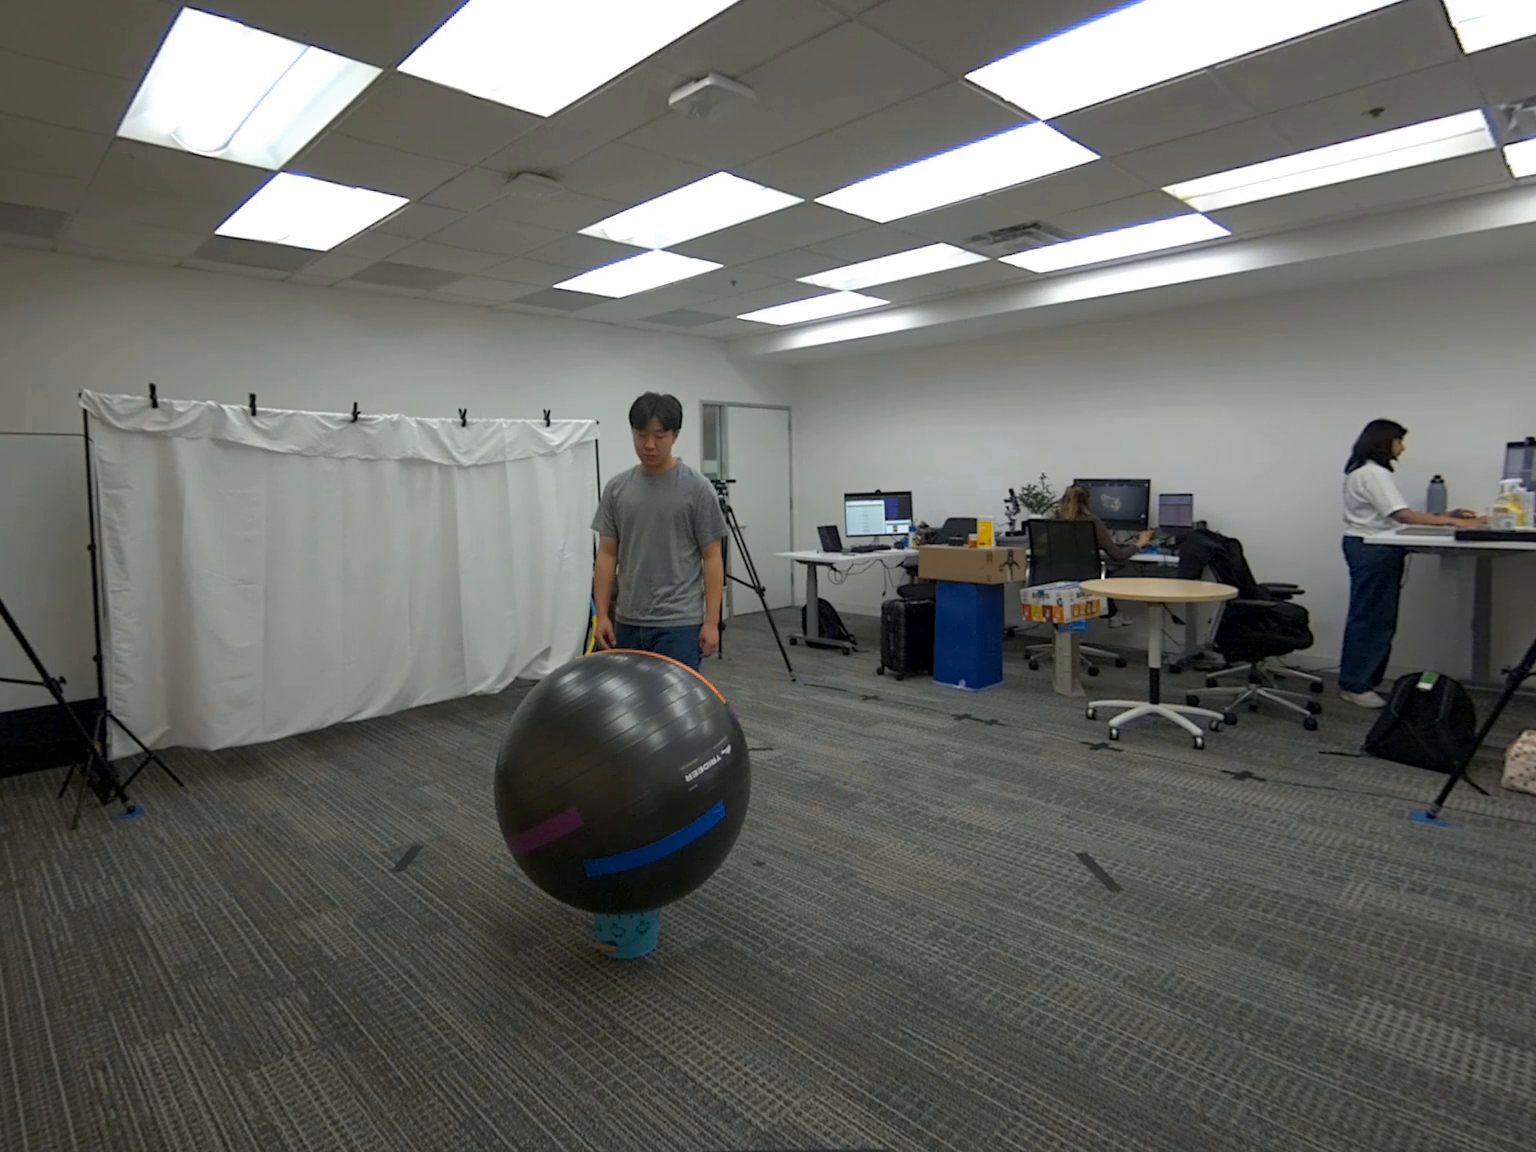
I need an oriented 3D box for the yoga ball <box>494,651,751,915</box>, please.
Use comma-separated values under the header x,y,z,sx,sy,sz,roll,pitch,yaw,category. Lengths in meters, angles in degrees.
x,y,z,sx,sy,sz,roll,pitch,yaw,category
-0.439,0.610,2.558,0.757,0.755,0.762,-1,5,-2,yoga ball
